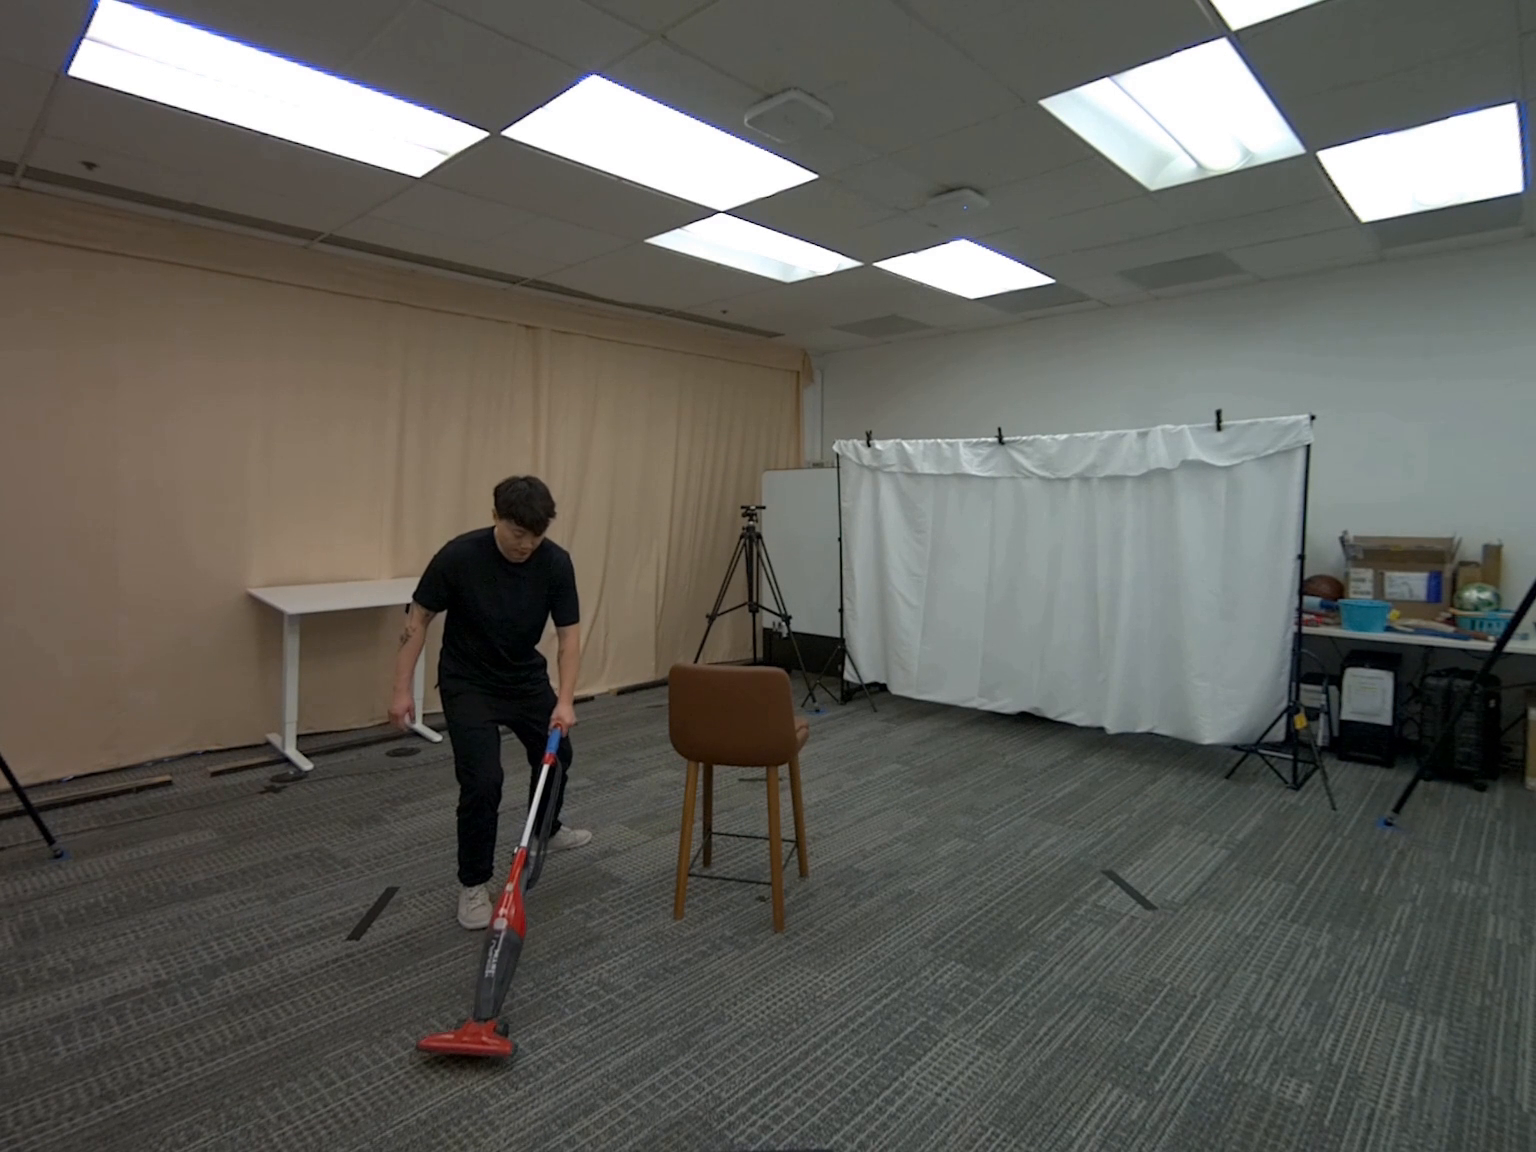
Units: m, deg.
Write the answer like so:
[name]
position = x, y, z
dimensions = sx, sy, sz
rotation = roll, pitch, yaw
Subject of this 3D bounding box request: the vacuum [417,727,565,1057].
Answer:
[vacuum]
position = -0.717, 0.851, 2.542
dimensions = 0.254, 0.141, 1.063
rotation = 2, 41, 5
